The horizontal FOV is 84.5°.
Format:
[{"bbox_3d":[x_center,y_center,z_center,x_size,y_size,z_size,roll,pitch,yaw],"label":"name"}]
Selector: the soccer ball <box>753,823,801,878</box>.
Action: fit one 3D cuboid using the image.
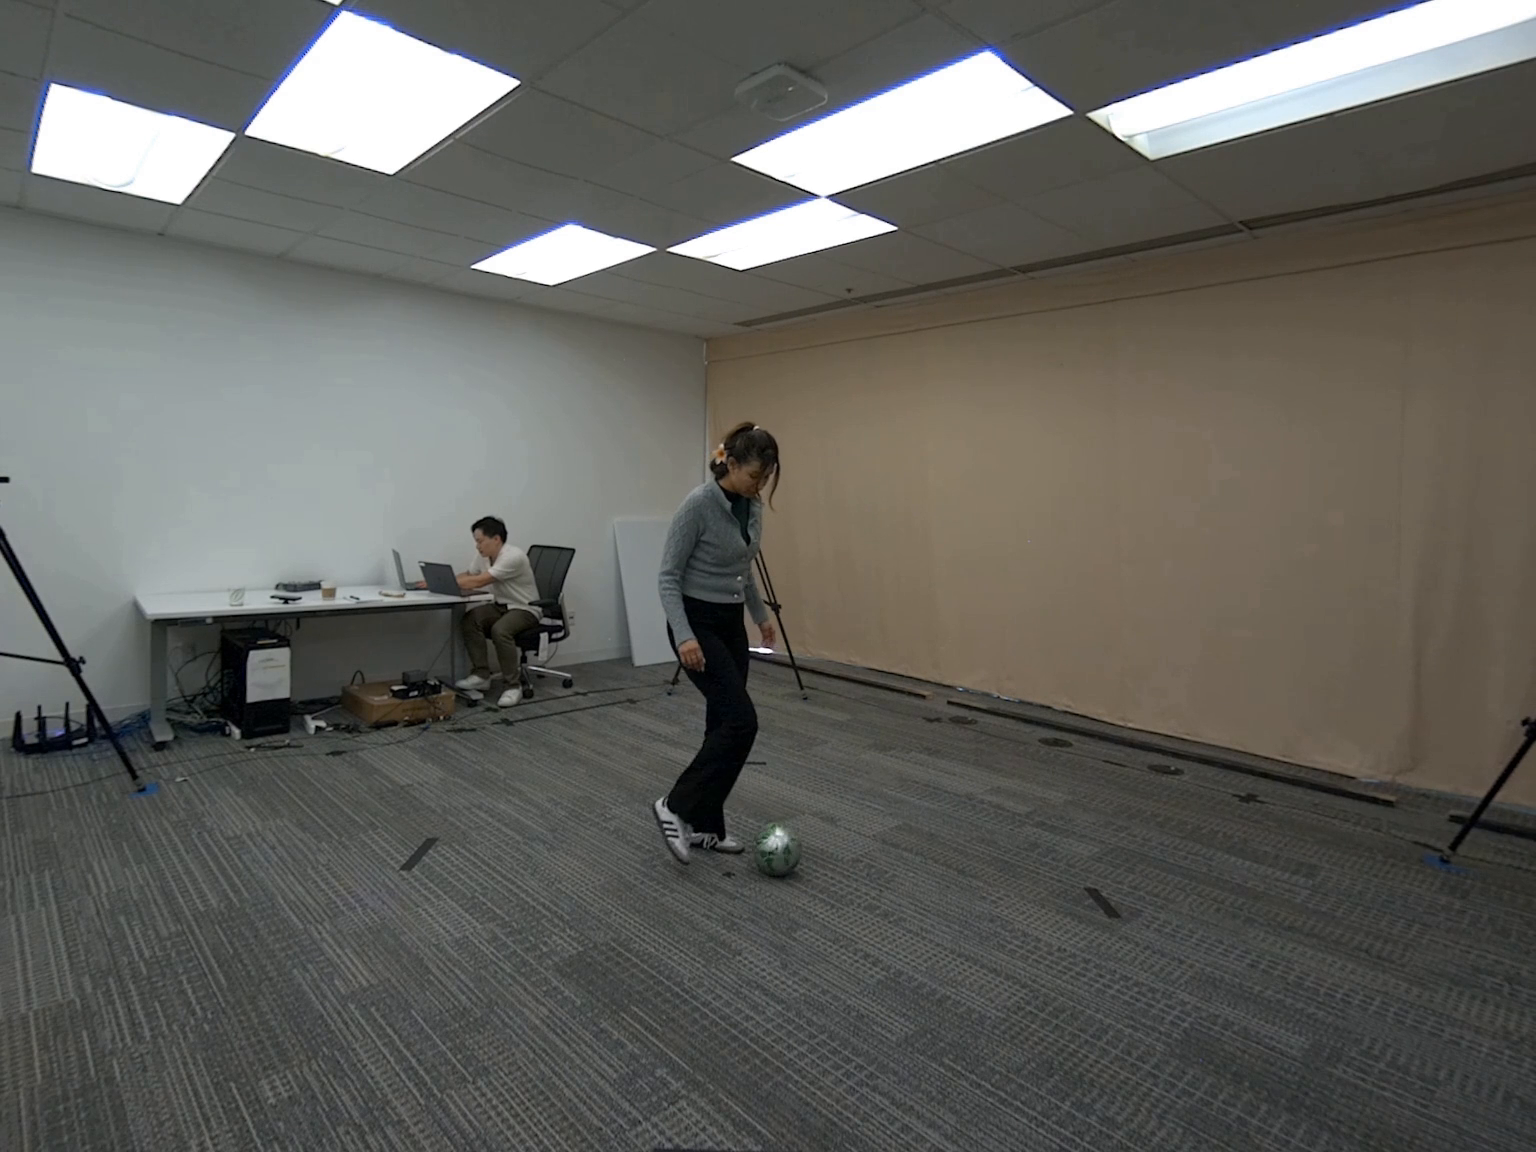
[{"bbox_3d":[0.024,1.013,3.113,0.187,0.187,0.188,1,4,-1],"label":"soccer ball"}]
